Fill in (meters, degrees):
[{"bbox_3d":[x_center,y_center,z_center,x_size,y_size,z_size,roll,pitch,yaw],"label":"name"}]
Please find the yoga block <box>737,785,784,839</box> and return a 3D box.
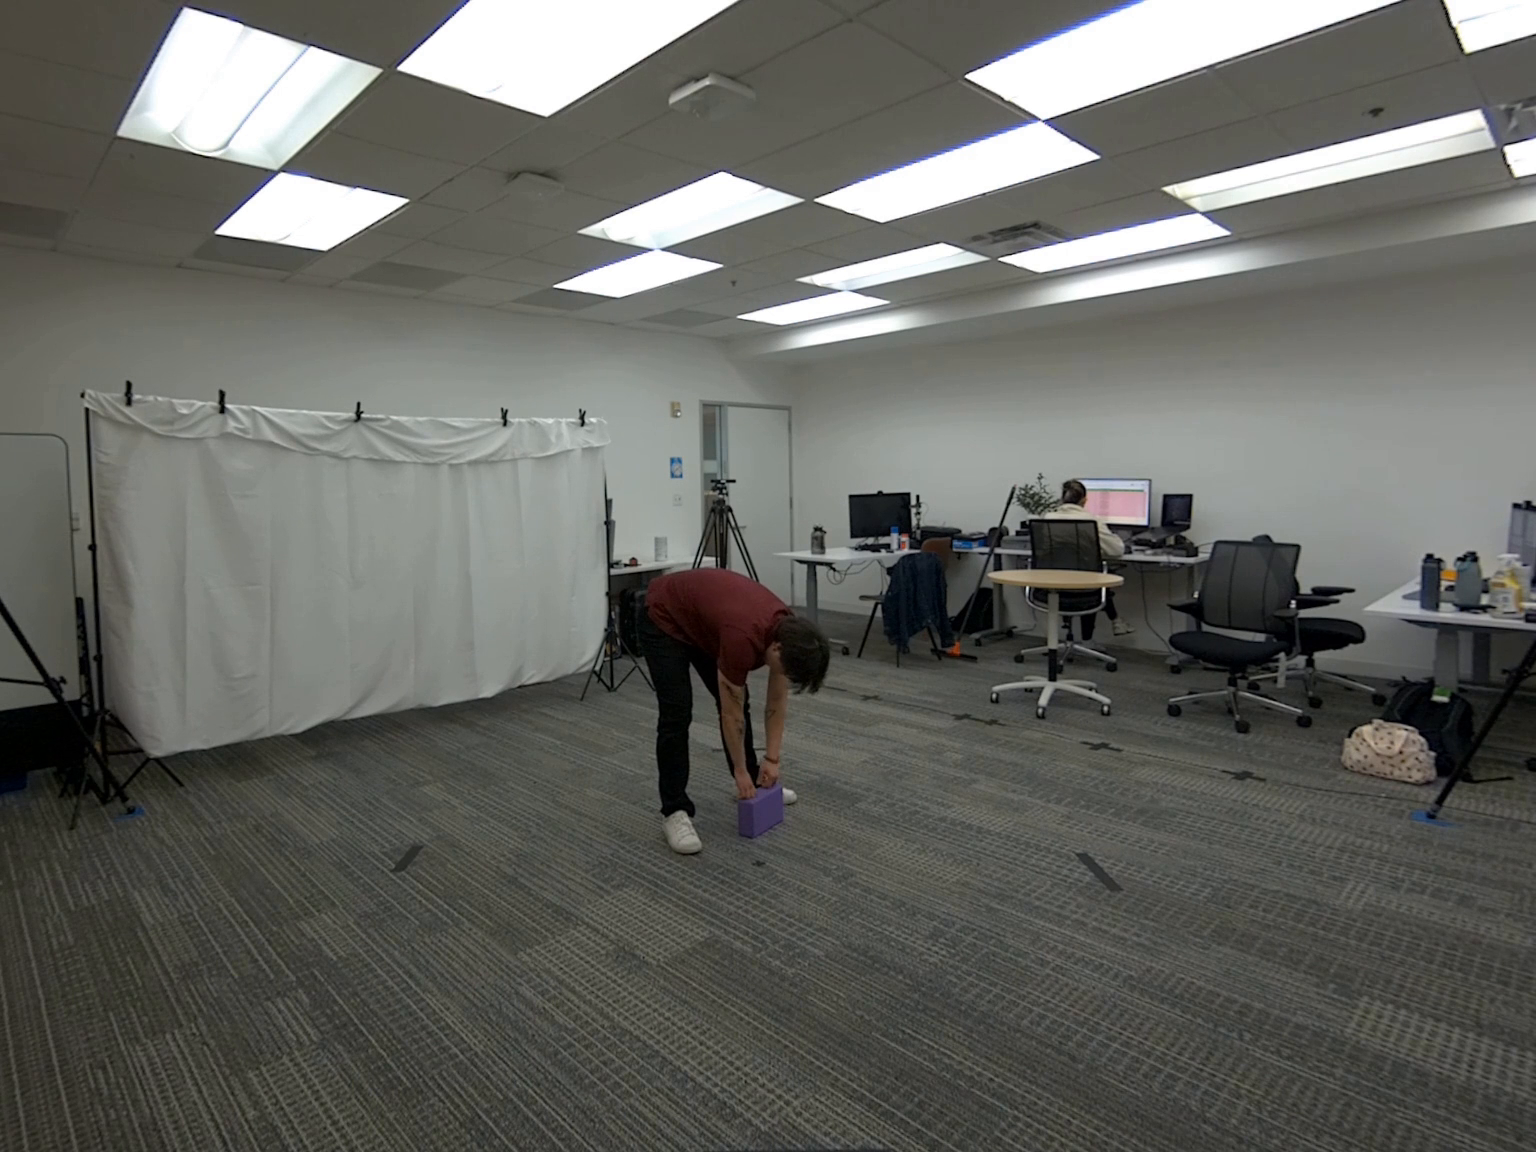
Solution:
[{"bbox_3d":[-0.034,0.936,3.429,0.078,0.148,0.224,1,6,34],"label":"yoga block"}]
